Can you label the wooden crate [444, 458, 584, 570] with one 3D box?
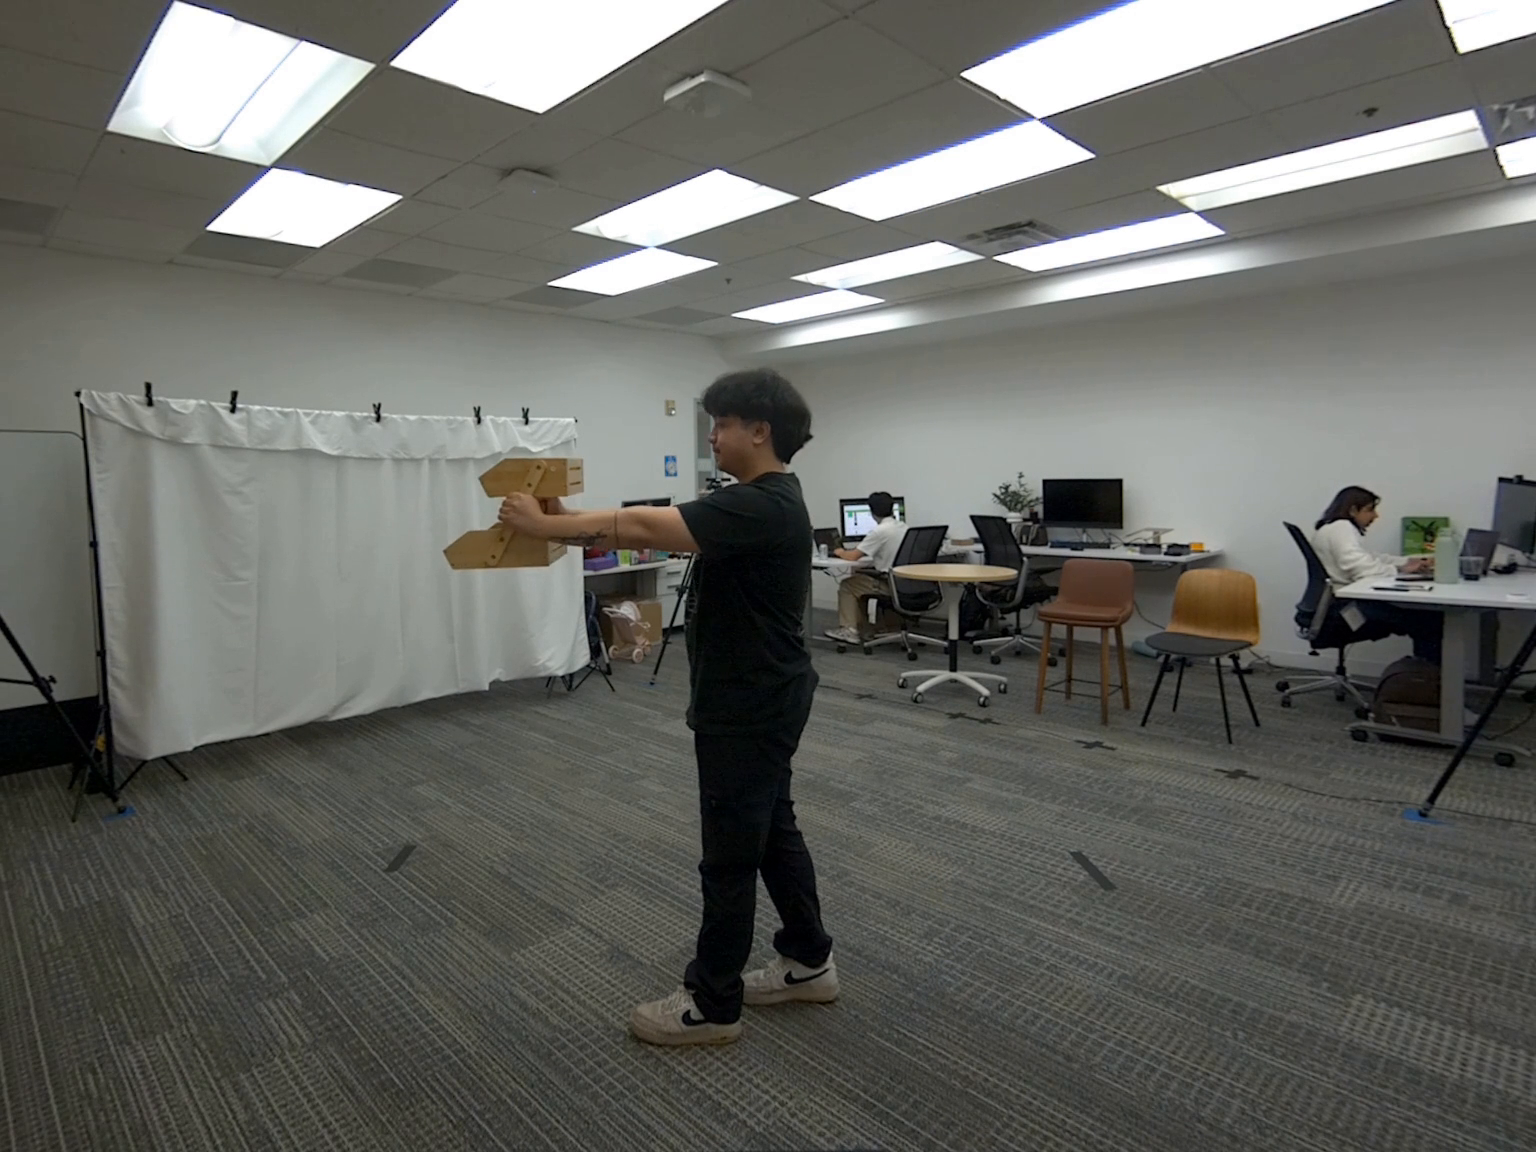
[{"bbox_3d":[-0.644,-0.175,2.167,0.301,0.272,0.327,0,6,-3],"label":"wooden crate"}]
